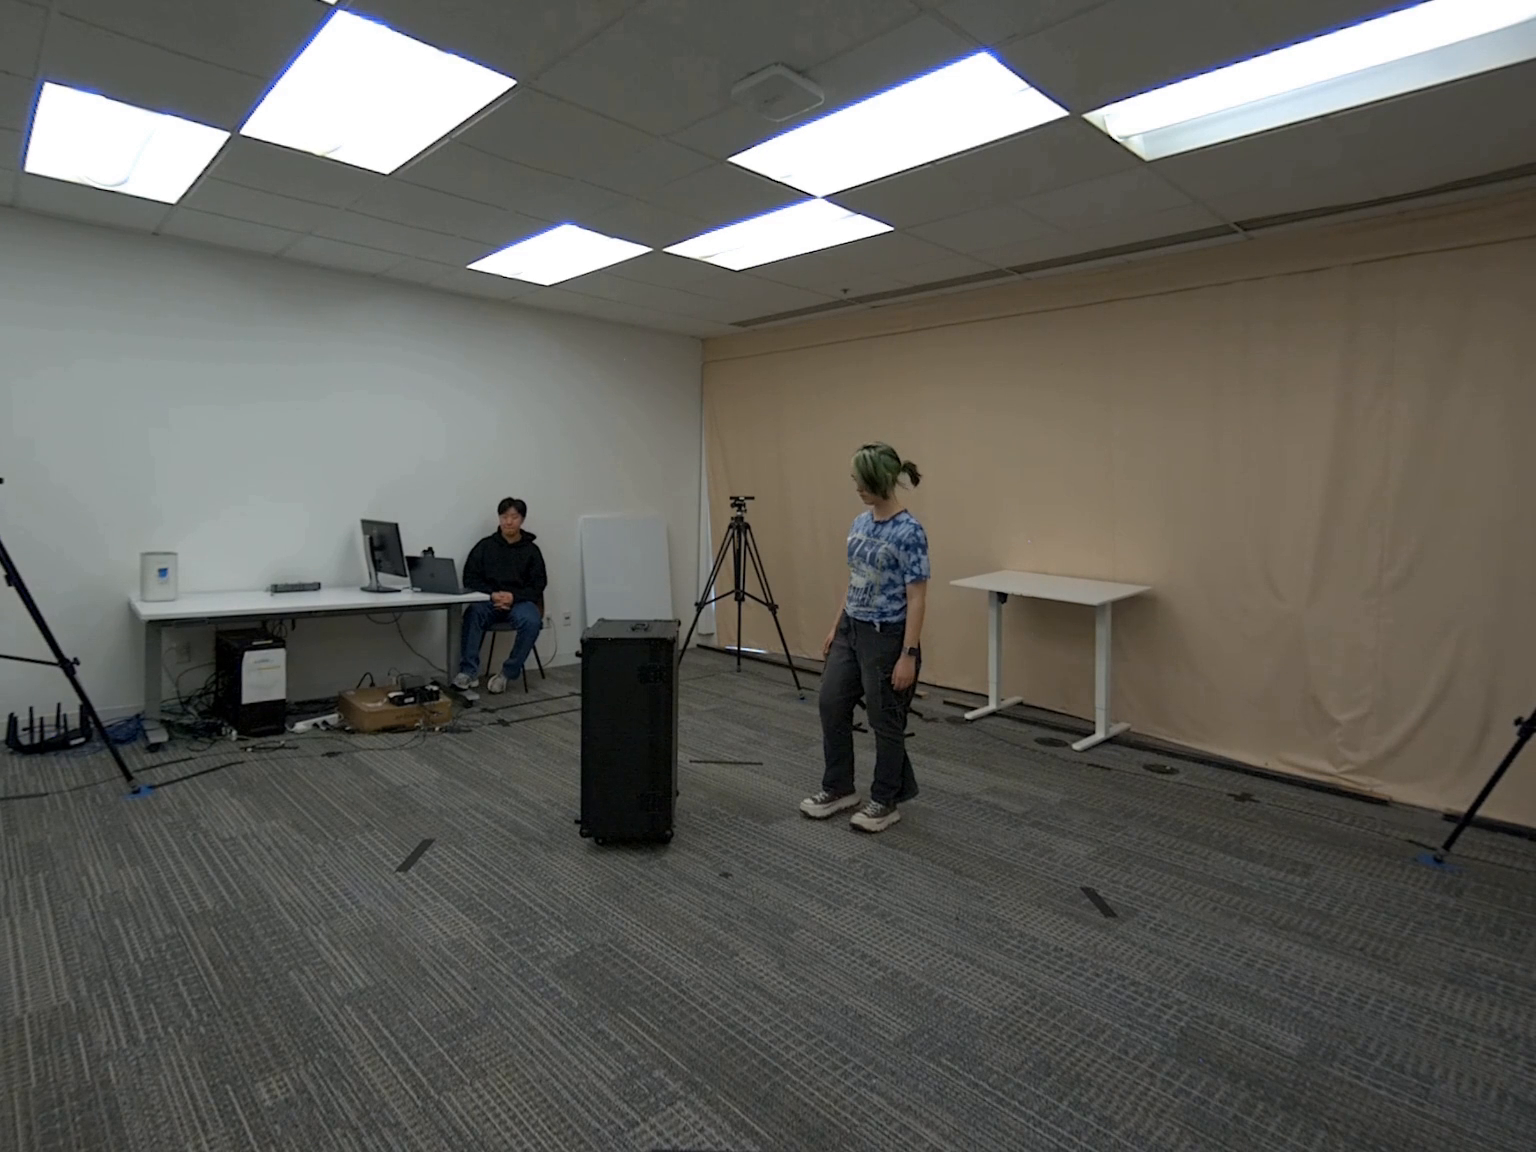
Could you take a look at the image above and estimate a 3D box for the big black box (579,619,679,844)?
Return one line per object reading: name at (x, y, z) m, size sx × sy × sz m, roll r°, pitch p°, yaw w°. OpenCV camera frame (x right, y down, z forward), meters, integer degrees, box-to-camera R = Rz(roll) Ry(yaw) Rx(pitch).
big black box at (-0.577, 0.640, 3.460) m, size 0.395 × 0.859 × 0.524 m, roll 0°, pitch 4°, yaw -4°
